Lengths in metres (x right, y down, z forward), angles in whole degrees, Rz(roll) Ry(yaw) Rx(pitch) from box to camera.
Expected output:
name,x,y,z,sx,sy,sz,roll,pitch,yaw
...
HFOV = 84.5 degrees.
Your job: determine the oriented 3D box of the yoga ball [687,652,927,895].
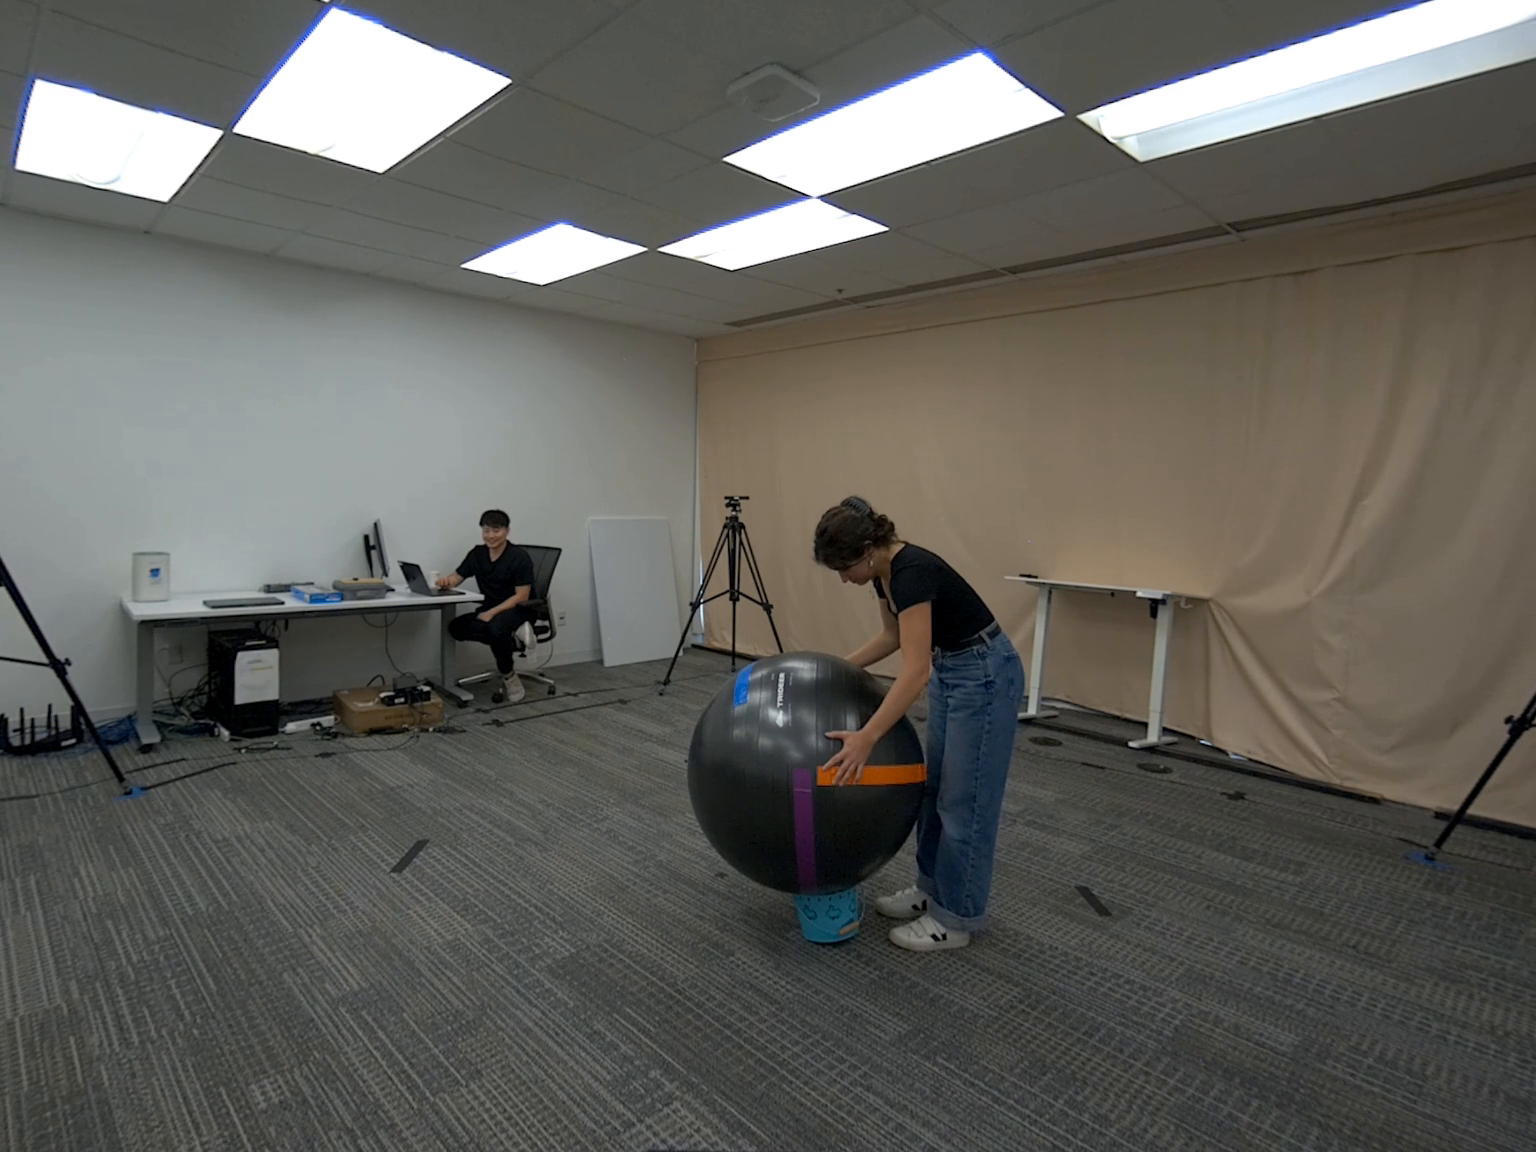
name,x,y,z,sx,sy,sz,roll,pitch,yaw
yoga ball,0.115,0.631,2.718,0.757,0.756,0.761,1,4,-1
